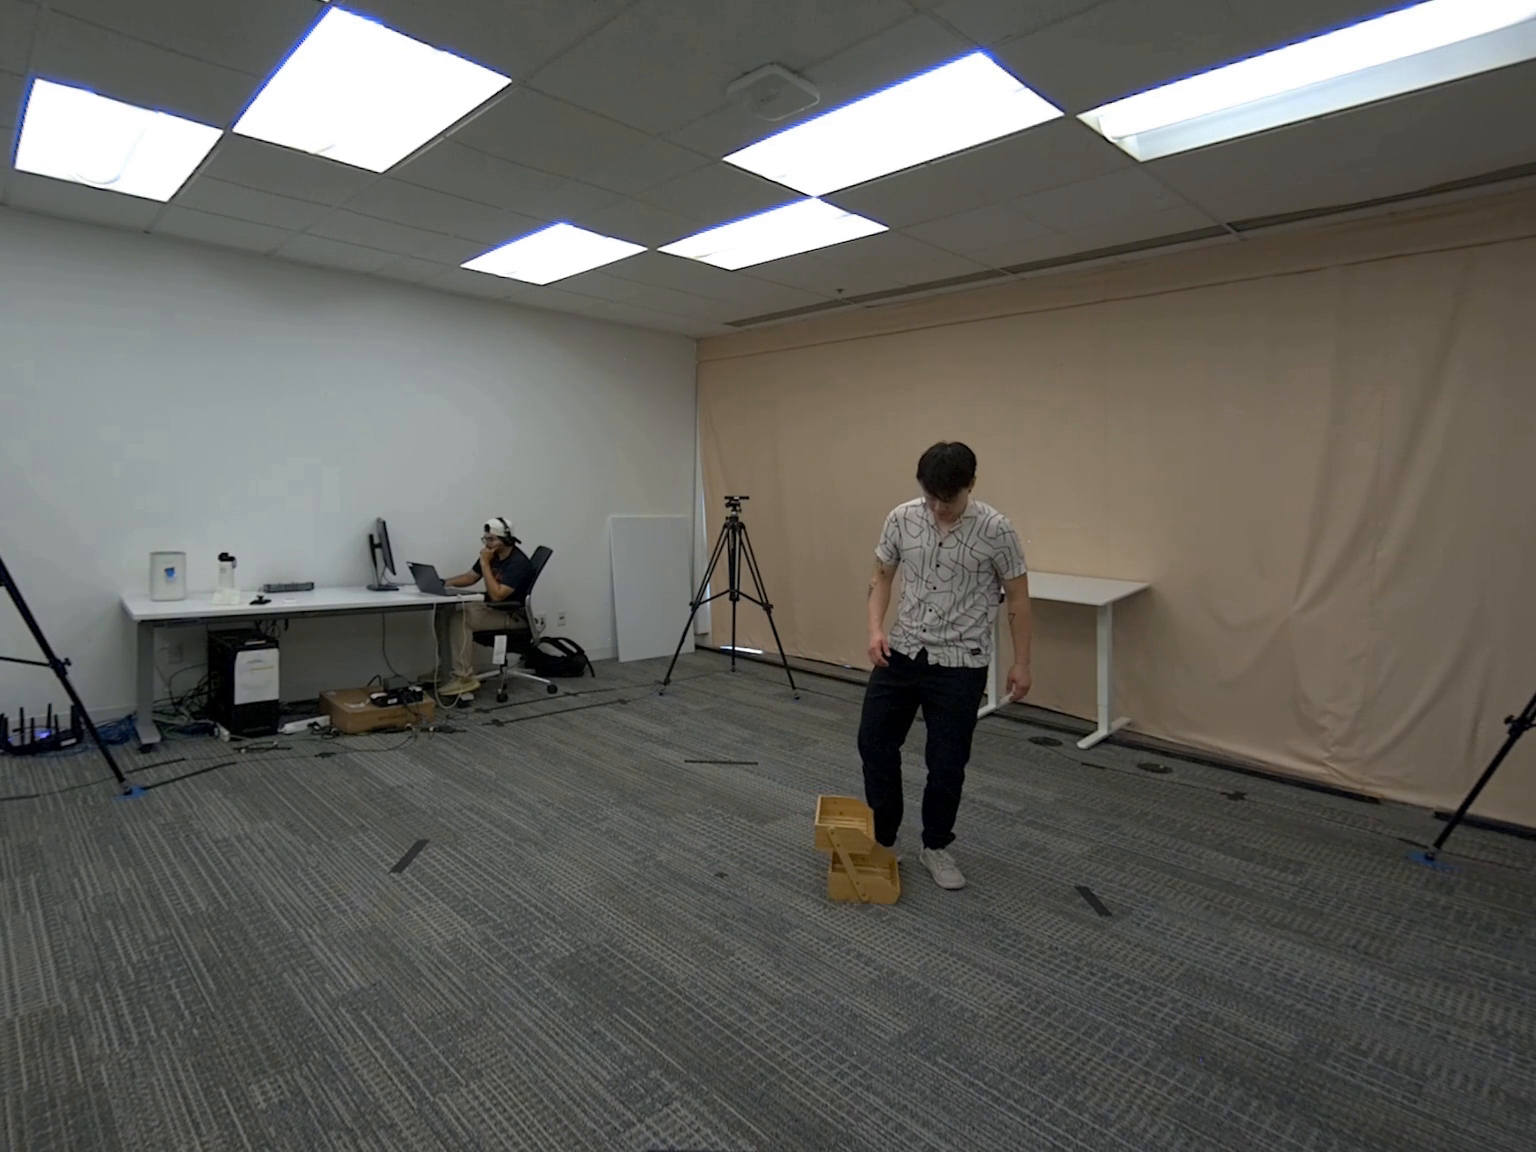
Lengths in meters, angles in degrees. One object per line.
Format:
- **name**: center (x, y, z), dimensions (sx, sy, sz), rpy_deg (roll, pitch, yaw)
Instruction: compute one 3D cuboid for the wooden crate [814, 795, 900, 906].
- **wooden crate**: center (0.324, 0.987, 3.057), dimensions (0.304, 0.273, 0.323), rpy_deg (2, 4, 7)
